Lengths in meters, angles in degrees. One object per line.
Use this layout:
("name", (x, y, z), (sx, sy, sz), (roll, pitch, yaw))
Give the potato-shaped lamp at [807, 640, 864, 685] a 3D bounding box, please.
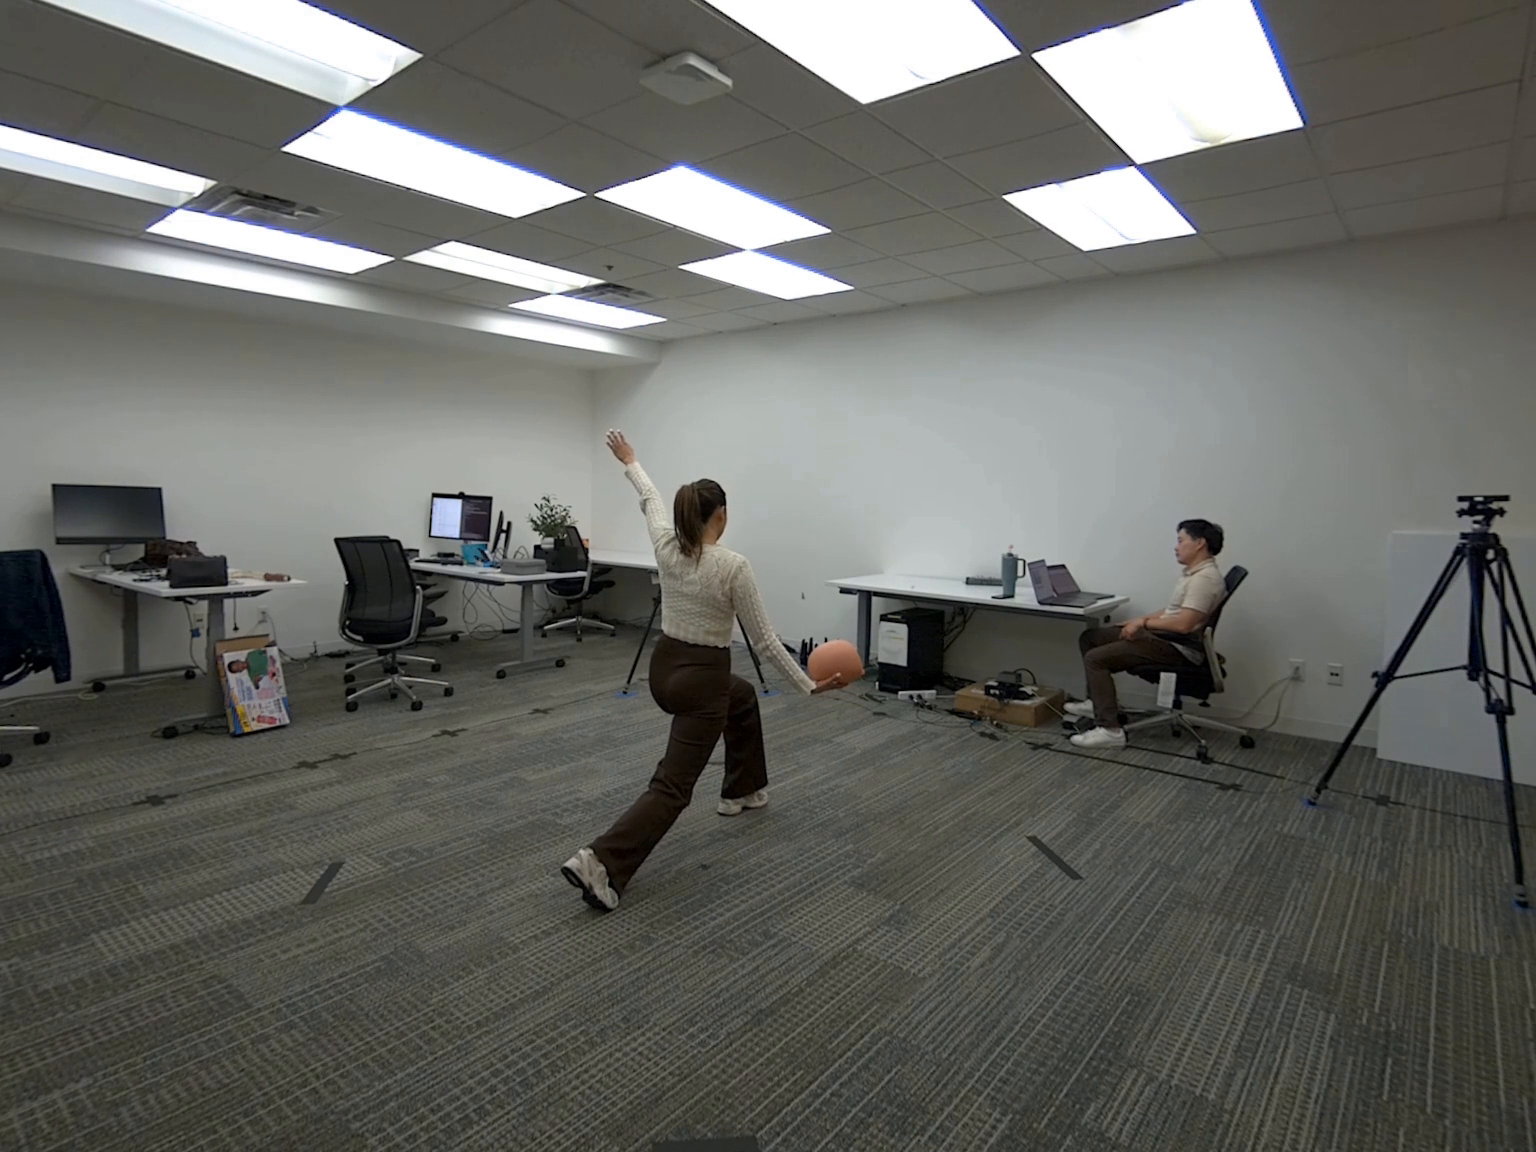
("potato-shaped lamp", (0.246, 0.342, 3.296), (0.196, 0.174, 0.164), (-18, -9, -13))
